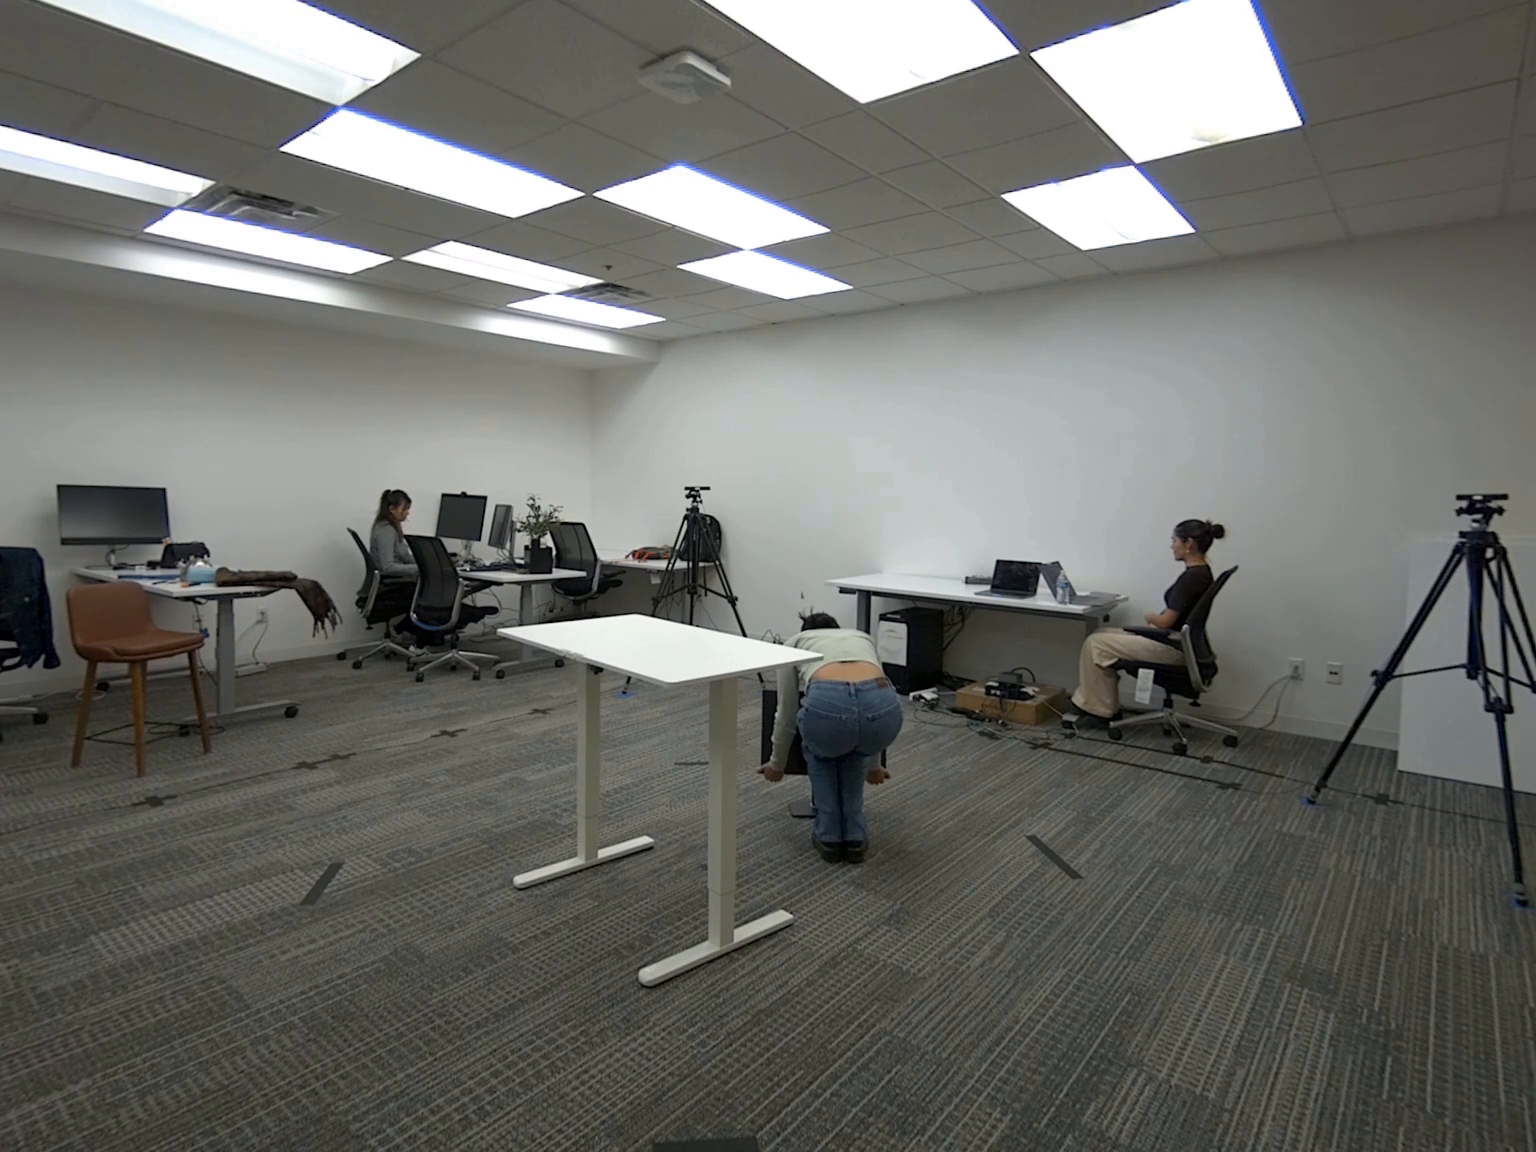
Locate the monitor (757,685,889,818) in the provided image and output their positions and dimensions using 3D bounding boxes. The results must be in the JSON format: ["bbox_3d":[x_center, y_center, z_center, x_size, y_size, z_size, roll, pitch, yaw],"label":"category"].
[{"bbox_3d":[0.234,0.760,3.684,0.538,0.522,0.188,1,1,-2],"label":"monitor"}]
